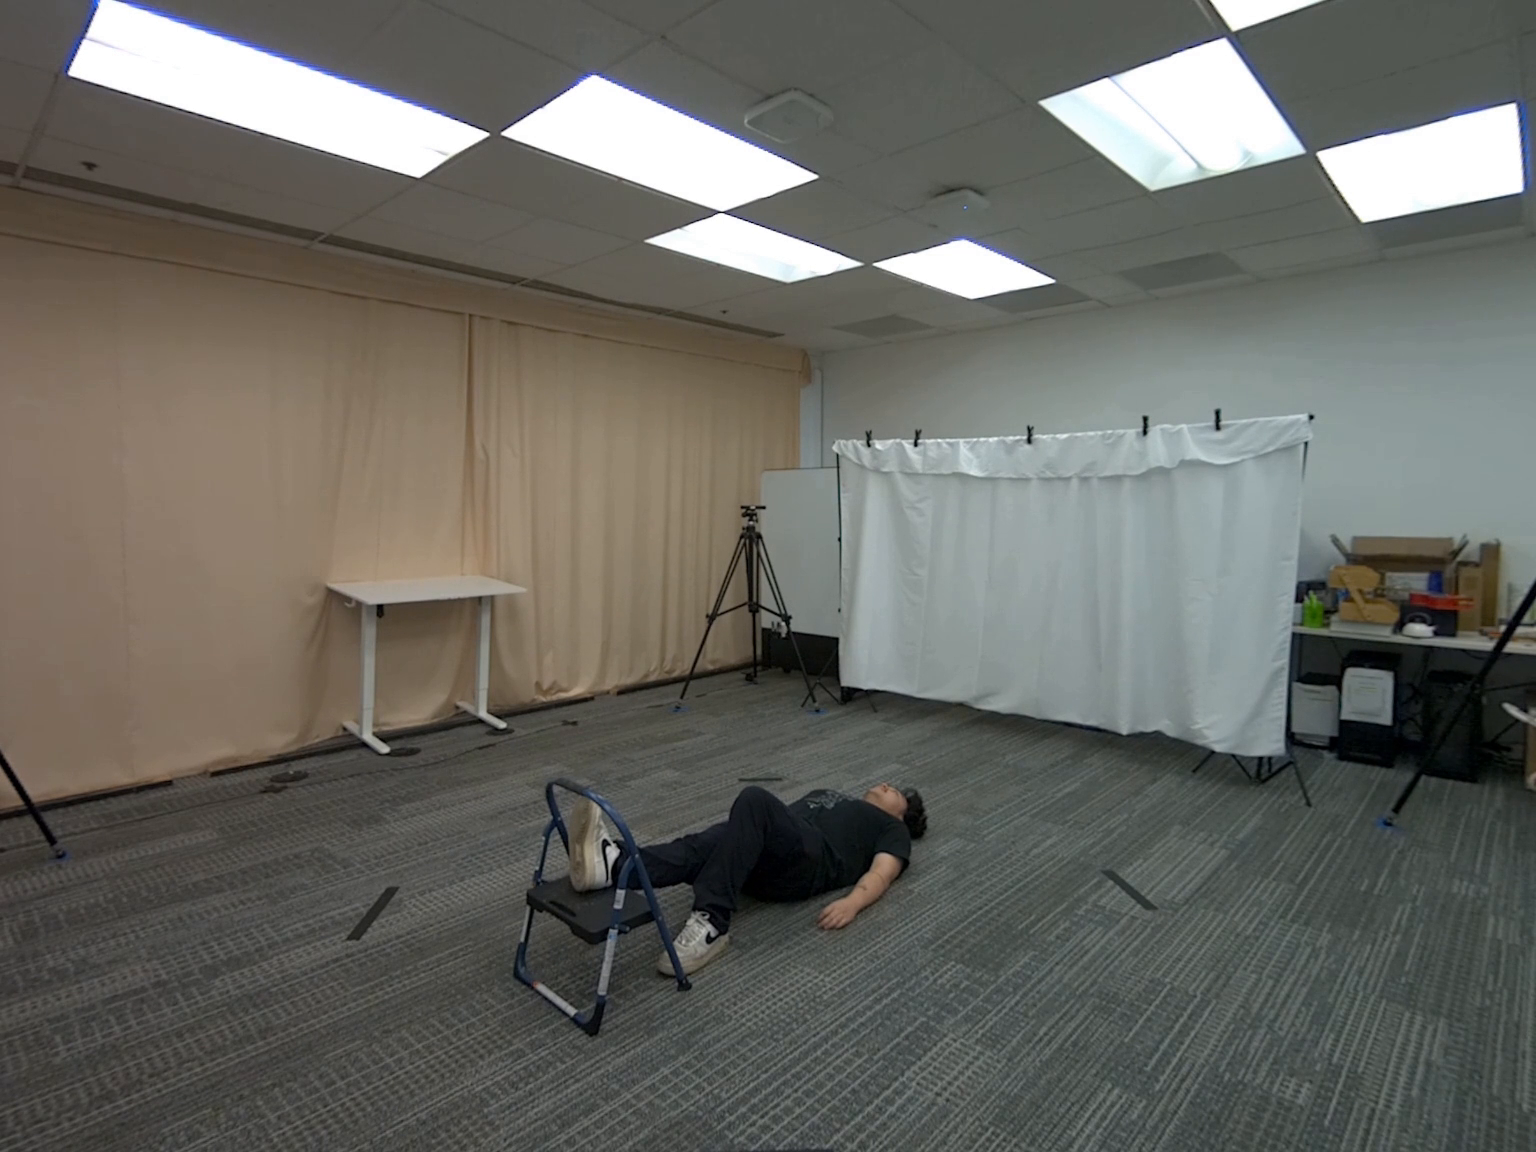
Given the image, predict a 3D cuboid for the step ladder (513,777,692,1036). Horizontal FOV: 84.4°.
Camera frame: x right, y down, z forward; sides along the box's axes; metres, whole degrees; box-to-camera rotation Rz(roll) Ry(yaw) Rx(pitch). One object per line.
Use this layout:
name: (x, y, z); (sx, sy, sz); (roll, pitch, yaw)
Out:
step ladder: (-0.497, 0.894, 2.451); (0.445, 0.605, 0.338); (2, 4, 44)
